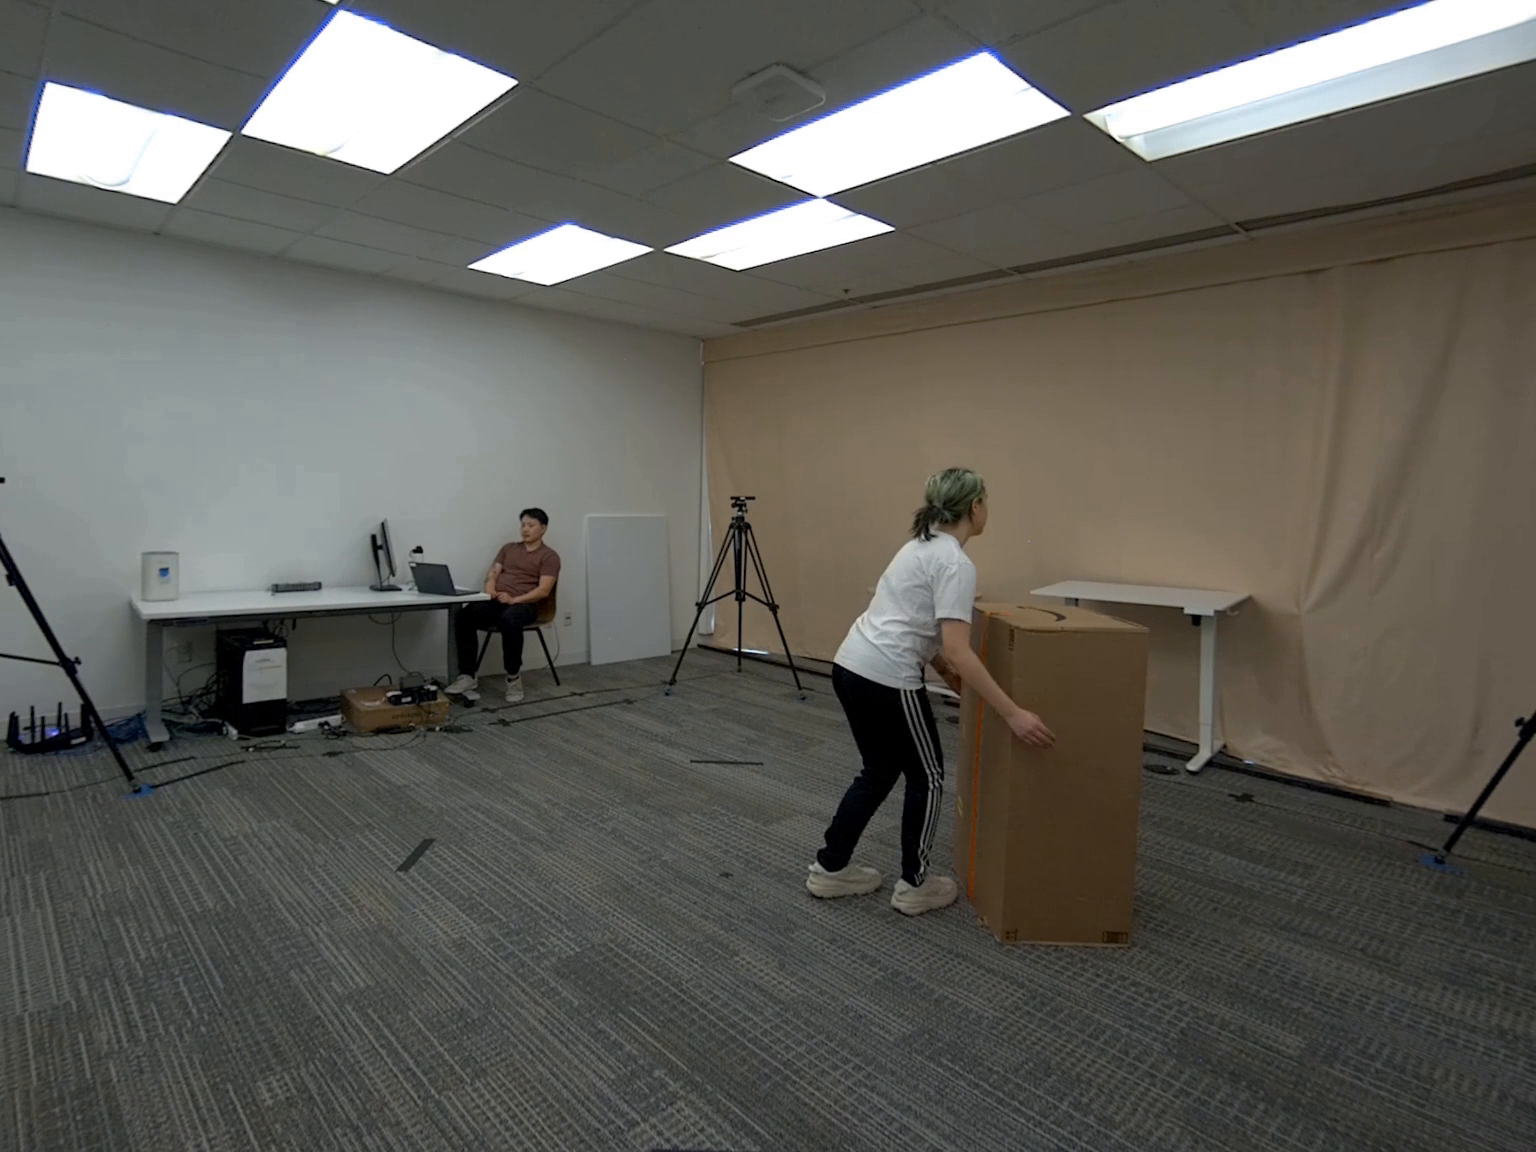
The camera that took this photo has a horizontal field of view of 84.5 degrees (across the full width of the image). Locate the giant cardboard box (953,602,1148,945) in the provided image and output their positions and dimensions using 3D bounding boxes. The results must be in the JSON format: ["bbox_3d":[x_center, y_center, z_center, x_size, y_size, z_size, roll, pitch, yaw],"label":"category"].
[{"bbox_3d":[0.941,0.644,2.918,0.446,1.024,0.586,2,4,-2],"label":"giant cardboard box"}]
